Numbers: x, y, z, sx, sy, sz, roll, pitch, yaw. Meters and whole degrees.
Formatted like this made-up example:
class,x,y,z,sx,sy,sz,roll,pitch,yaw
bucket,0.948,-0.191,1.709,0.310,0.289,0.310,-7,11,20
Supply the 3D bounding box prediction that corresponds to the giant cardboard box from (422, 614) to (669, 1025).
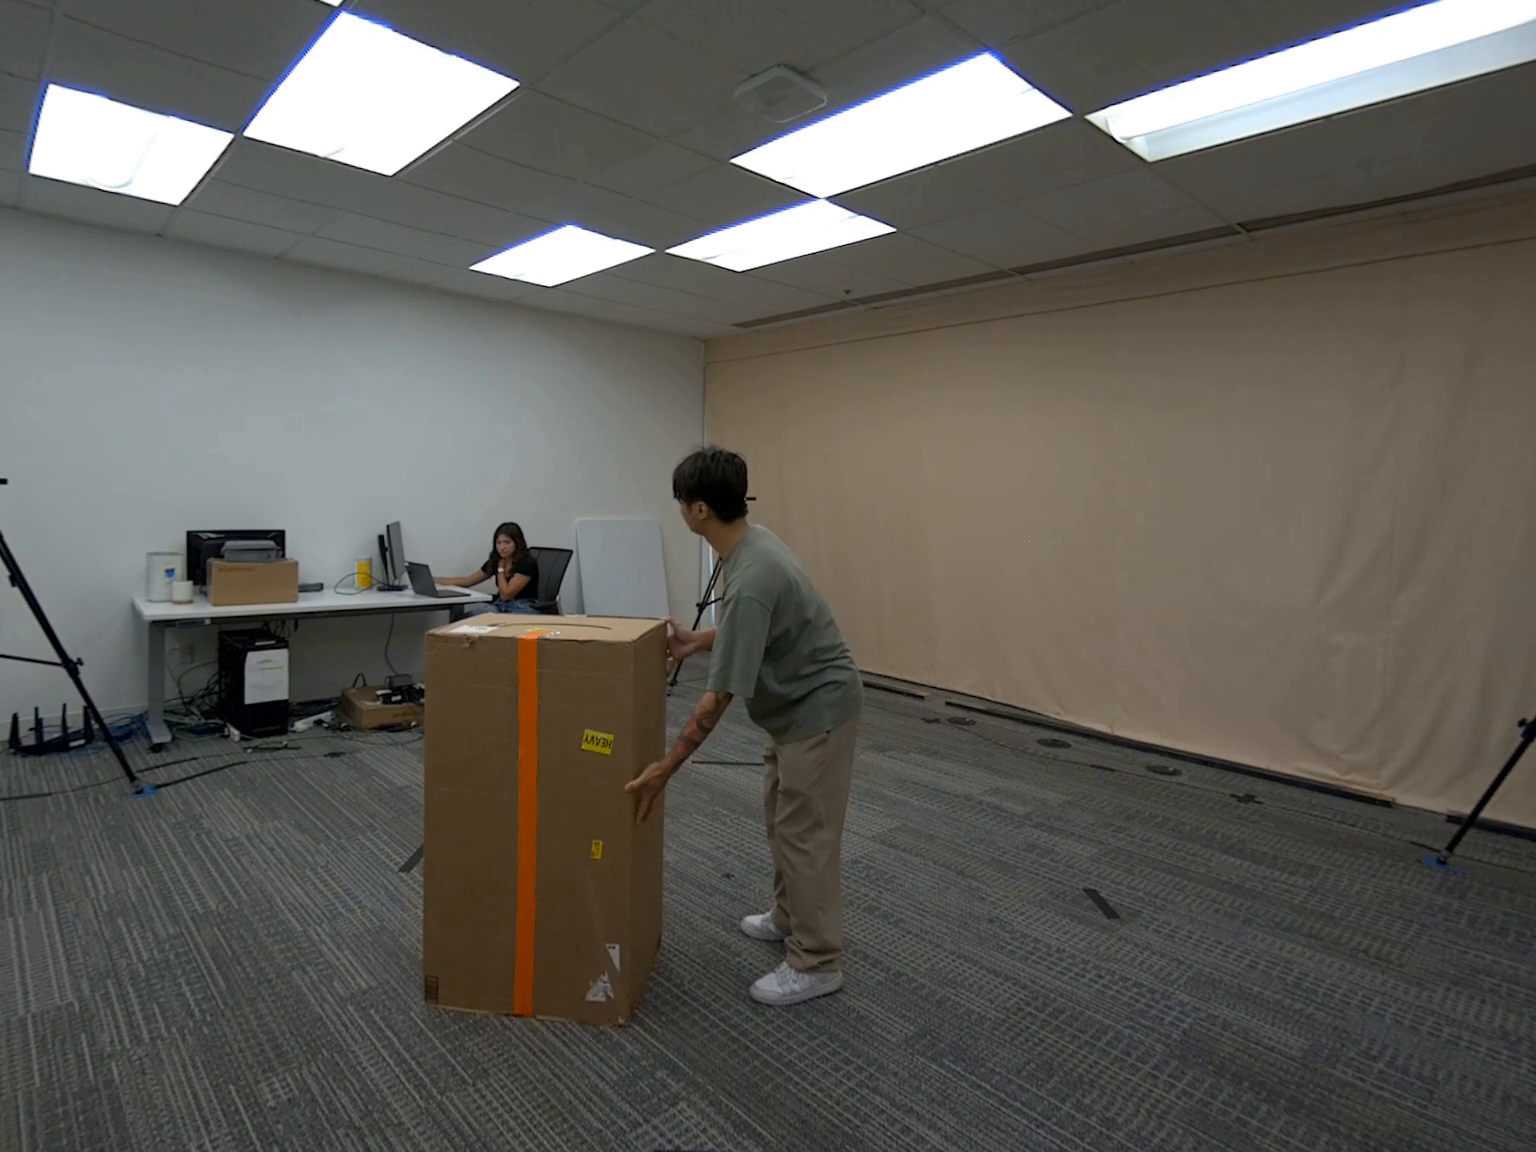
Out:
class,x,y,z,sx,sy,sz,roll,pitch,yaw
giant cardboard box,-0.625,0.648,2.424,0.581,1.024,0.424,2,3,7
